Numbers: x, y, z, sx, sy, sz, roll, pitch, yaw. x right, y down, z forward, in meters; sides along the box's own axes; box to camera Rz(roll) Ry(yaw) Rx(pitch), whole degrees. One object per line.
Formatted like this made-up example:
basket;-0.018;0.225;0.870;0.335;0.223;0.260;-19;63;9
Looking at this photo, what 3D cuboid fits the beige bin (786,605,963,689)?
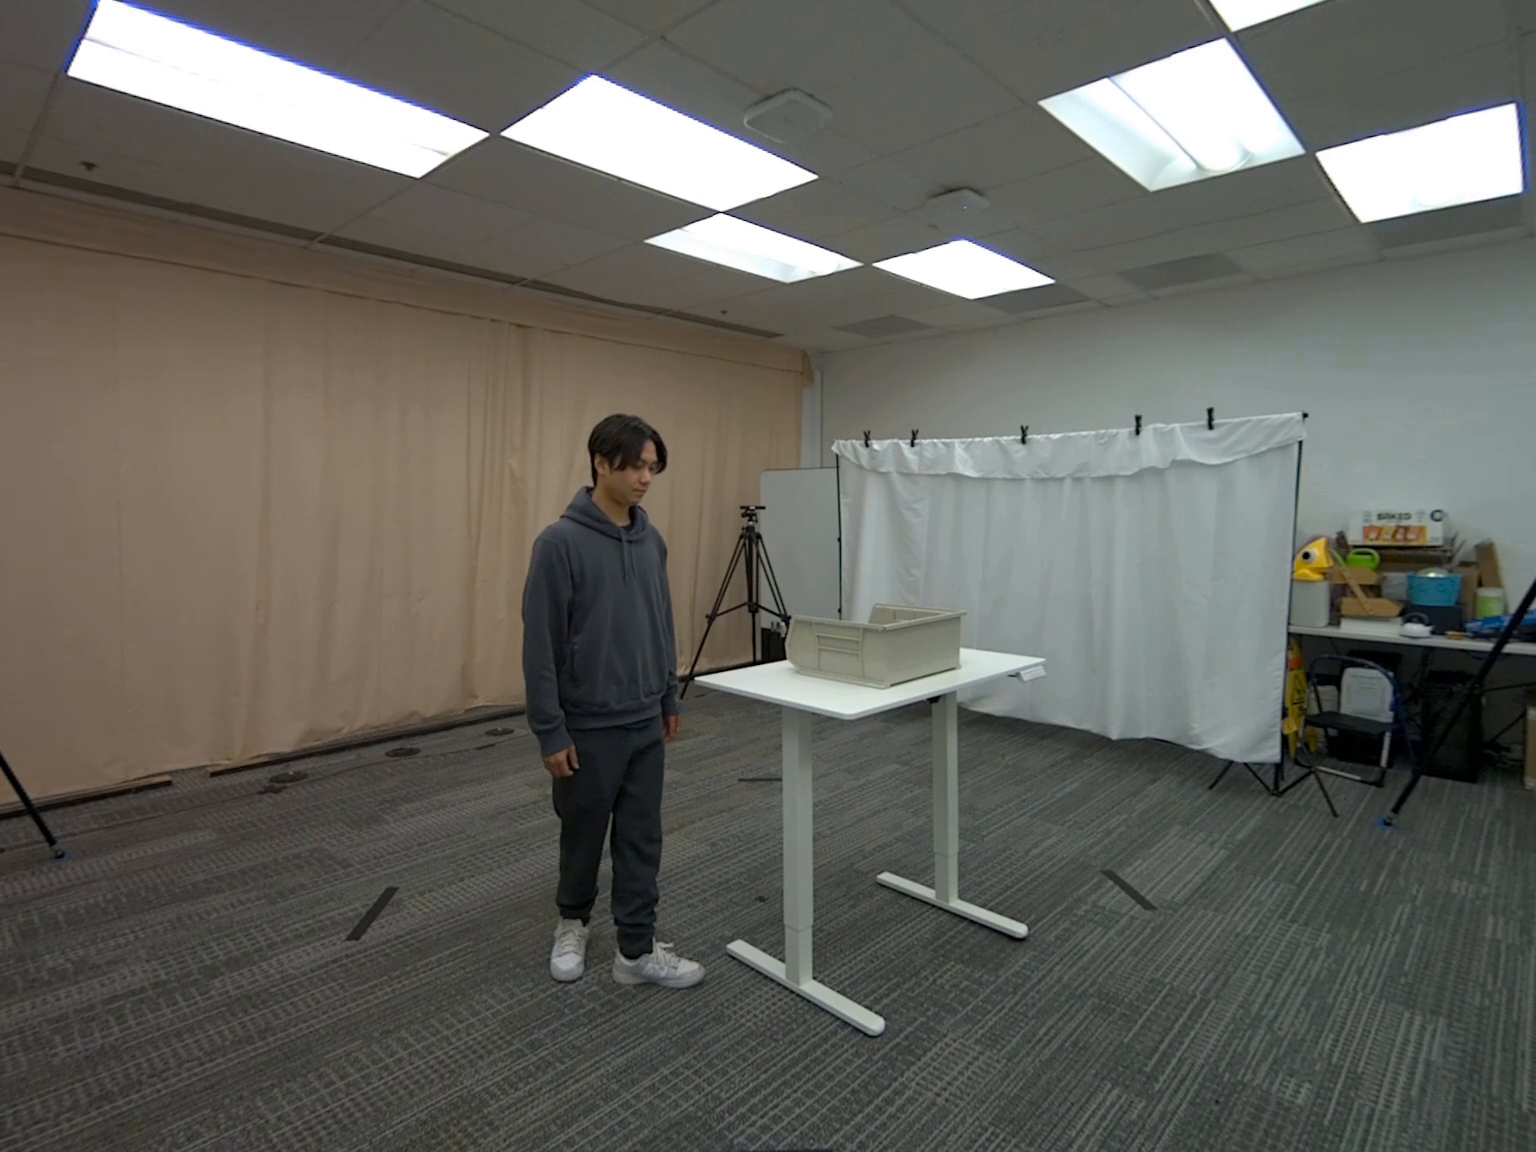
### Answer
beige bin;0.339;0.205;2.590;0.409;0.188;0.390;-5;7;-45
